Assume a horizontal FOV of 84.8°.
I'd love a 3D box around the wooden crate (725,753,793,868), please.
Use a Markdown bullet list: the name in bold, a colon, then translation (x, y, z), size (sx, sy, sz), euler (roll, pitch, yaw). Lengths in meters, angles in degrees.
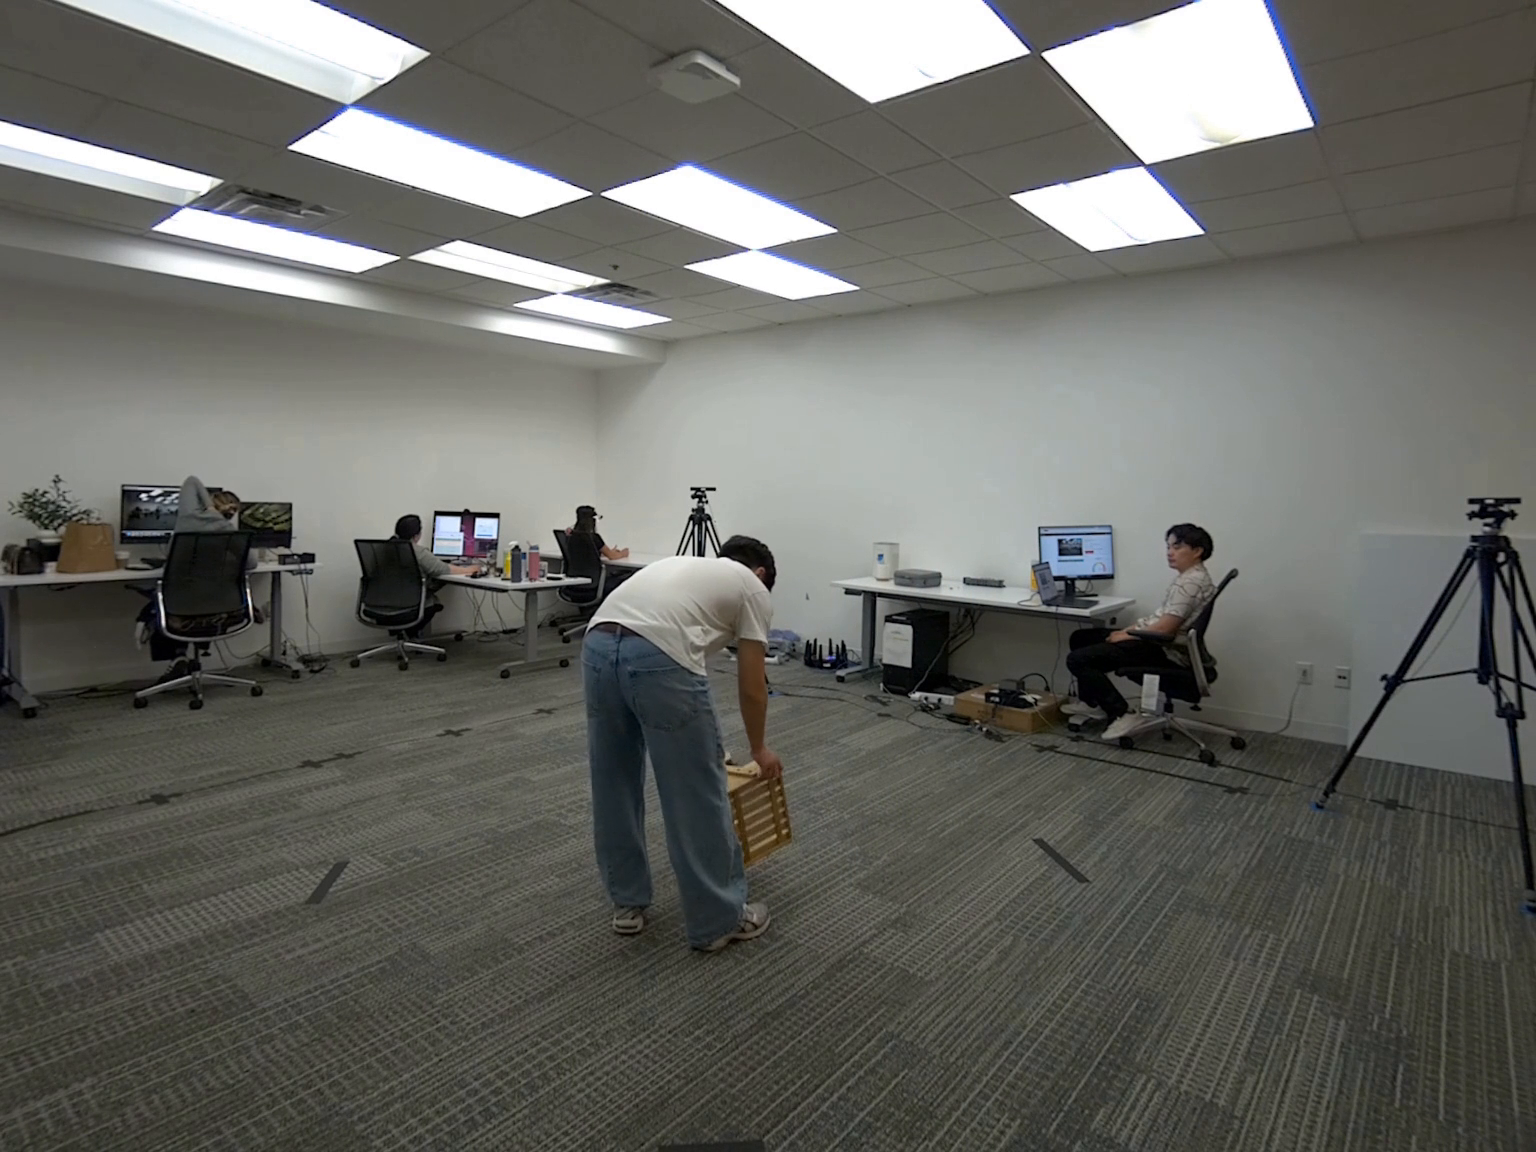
- **wooden crate**: translation (-0.131, 0.803, 2.987), size (0.297, 0.319, 0.283), euler (-20, 19, -29)
